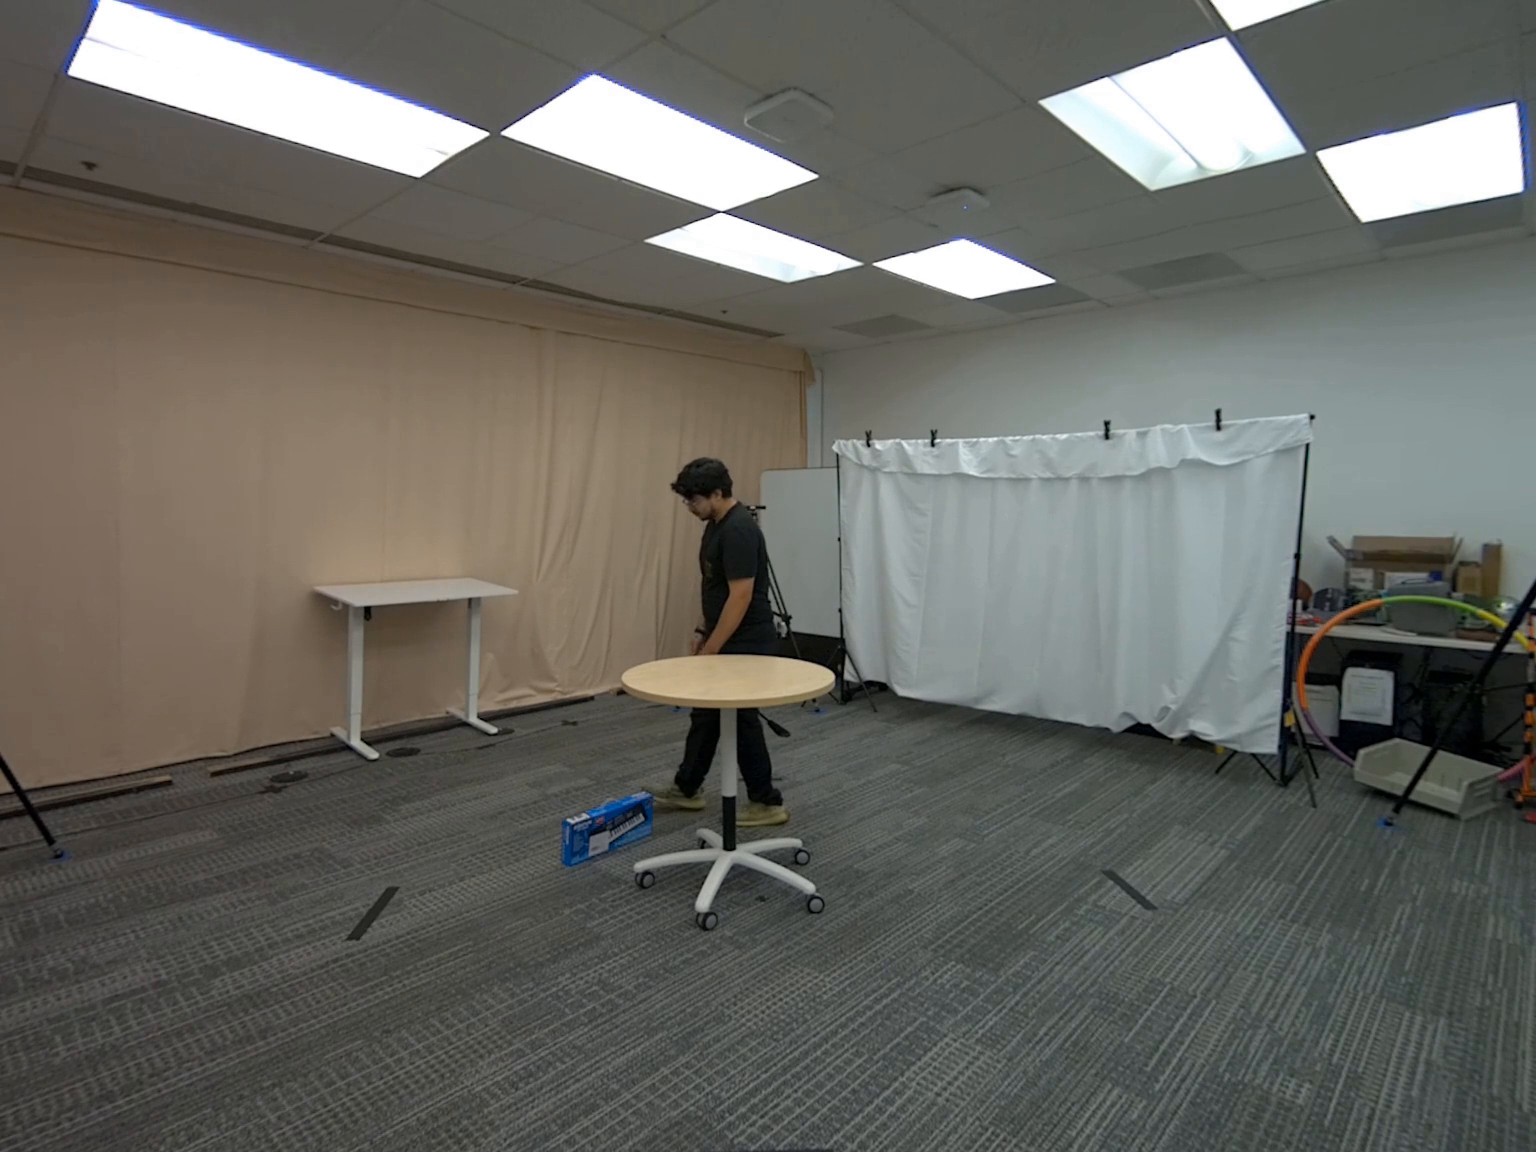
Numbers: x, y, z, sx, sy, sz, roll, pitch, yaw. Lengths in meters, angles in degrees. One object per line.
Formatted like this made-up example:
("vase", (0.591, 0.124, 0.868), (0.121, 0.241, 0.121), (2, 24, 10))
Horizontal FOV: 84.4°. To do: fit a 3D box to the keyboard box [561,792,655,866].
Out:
("keyboard box", (-0.650, 1.027, 3.435), (0.061, 0.175, 0.424), (9, 10, 39))
